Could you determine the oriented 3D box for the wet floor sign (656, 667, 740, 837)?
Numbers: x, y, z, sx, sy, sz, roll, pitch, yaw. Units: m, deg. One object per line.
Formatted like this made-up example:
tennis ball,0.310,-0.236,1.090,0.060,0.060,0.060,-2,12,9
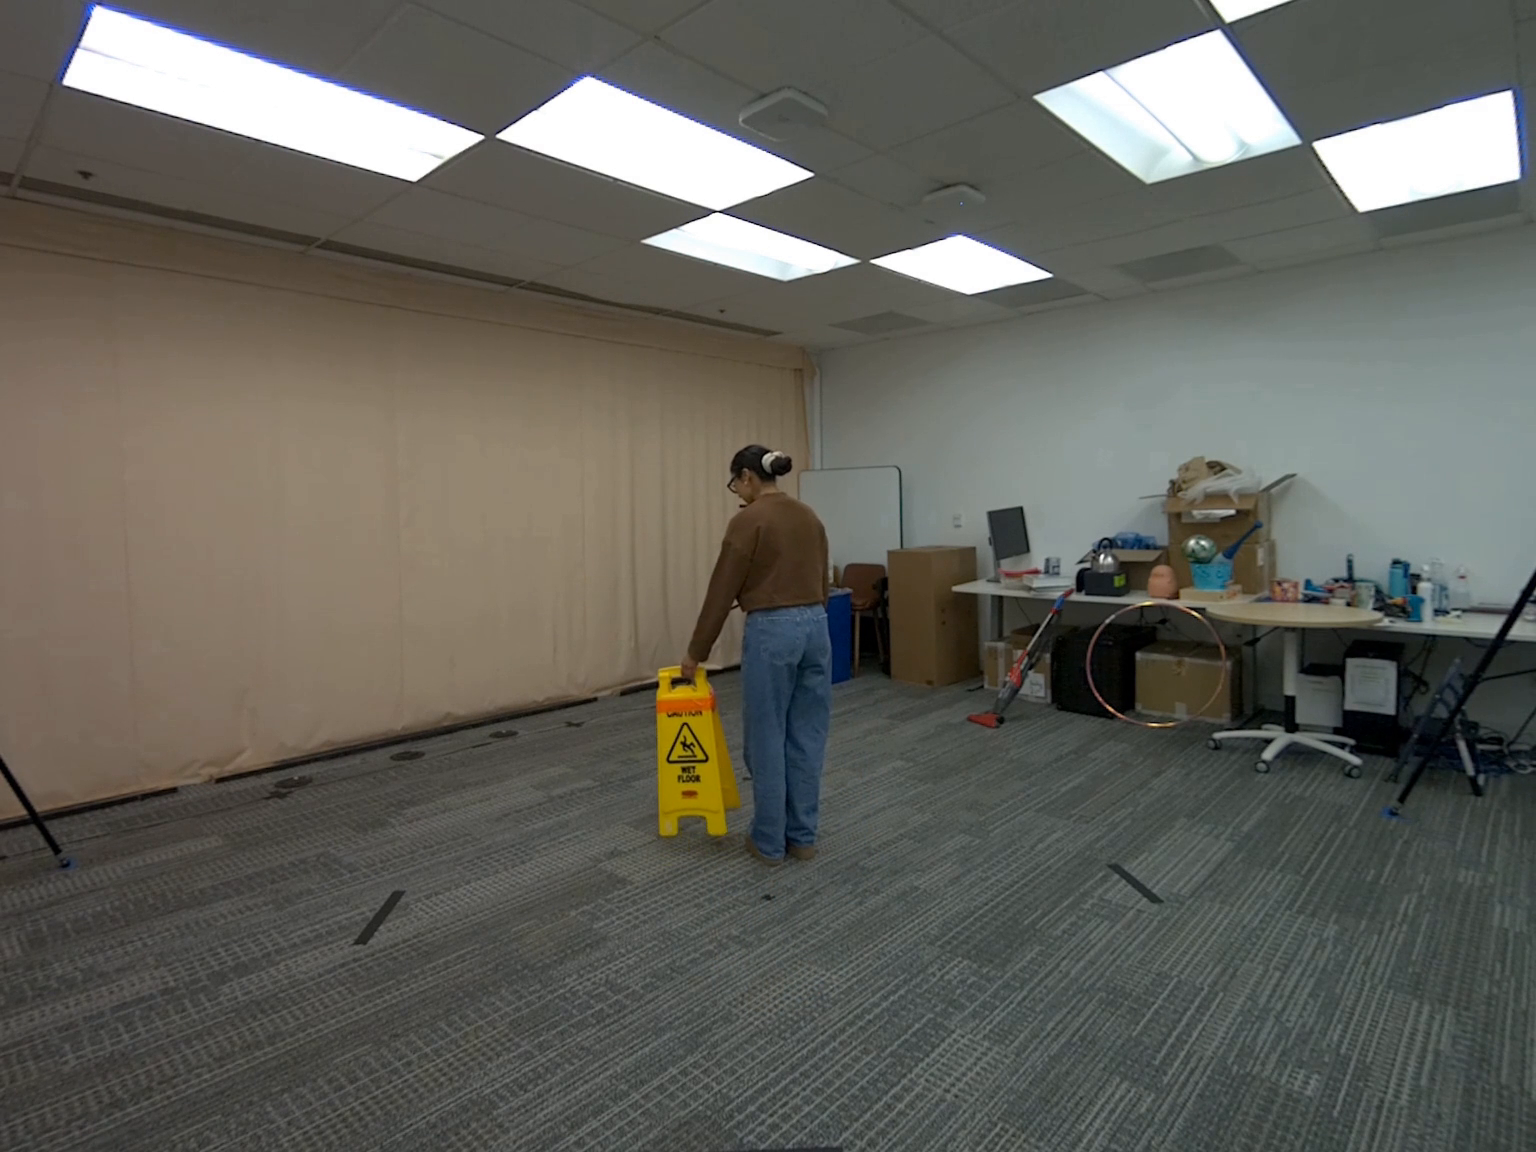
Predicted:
wet floor sign,-0.313,0.693,3.448,0.286,0.644,0.287,-5,5,11
